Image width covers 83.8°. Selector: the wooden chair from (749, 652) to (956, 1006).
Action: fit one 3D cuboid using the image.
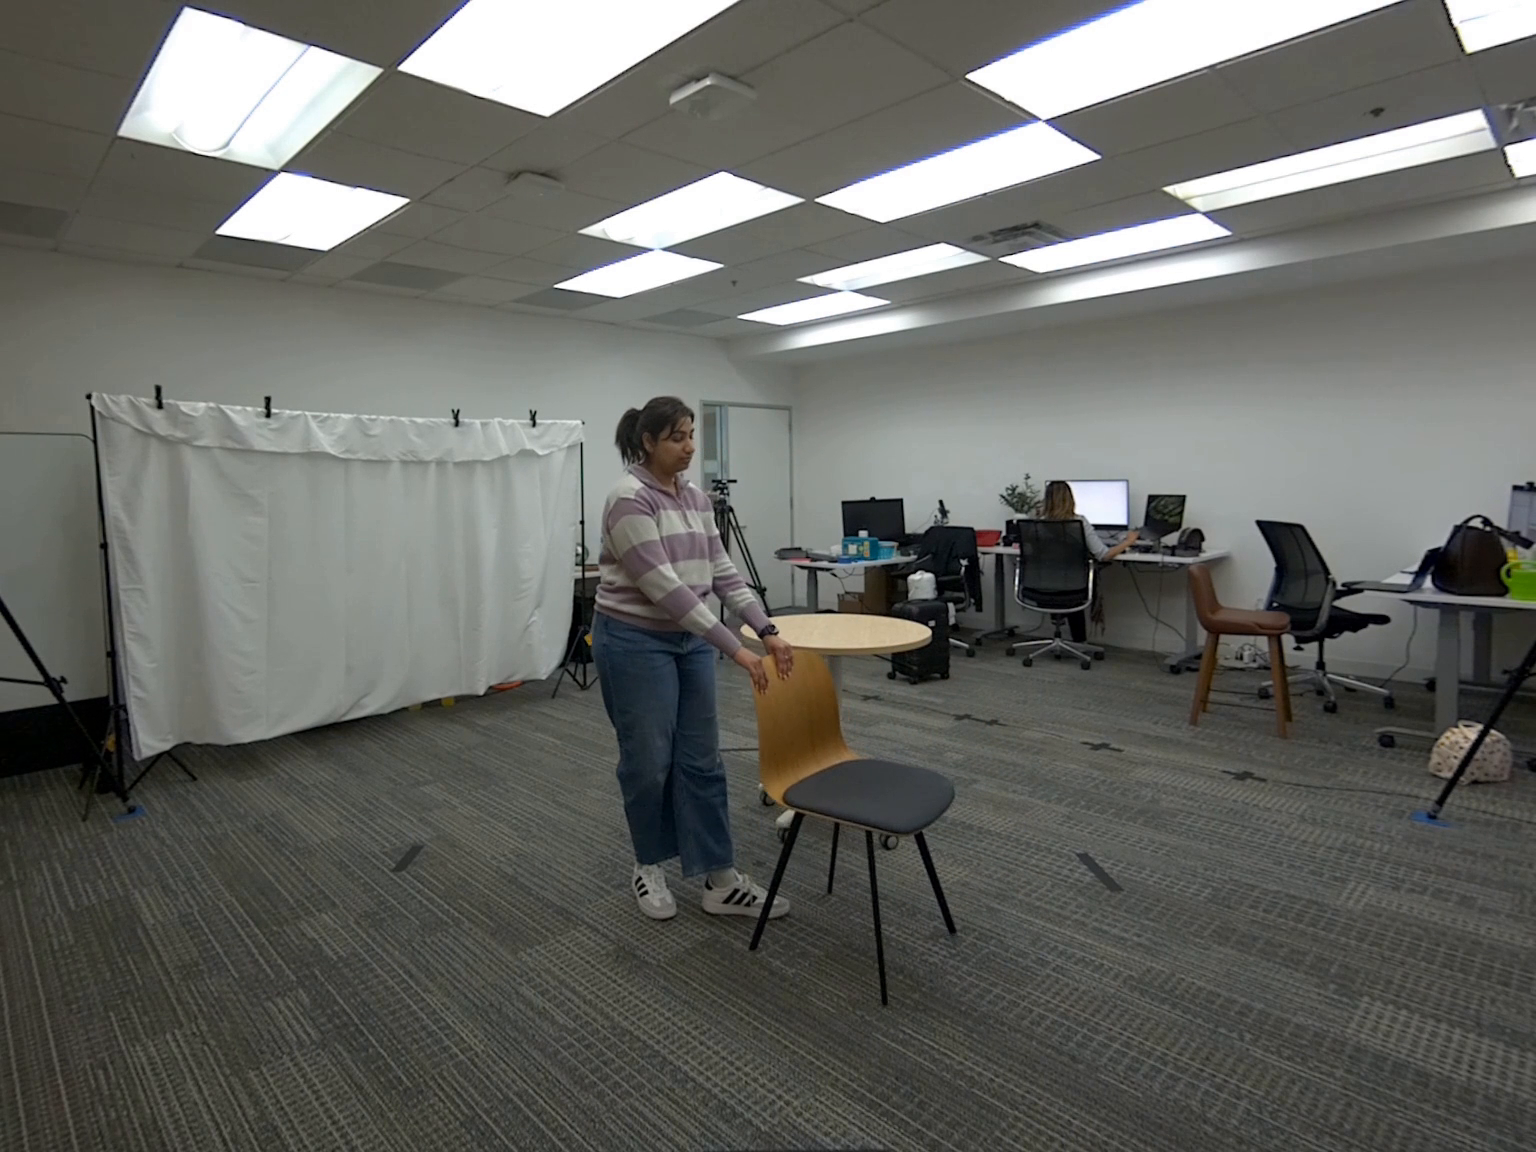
[{"bbox_3d":[0.258,0.677,2.537,0.537,0.877,0.466,-4,1,37],"label":"wooden chair"}]
